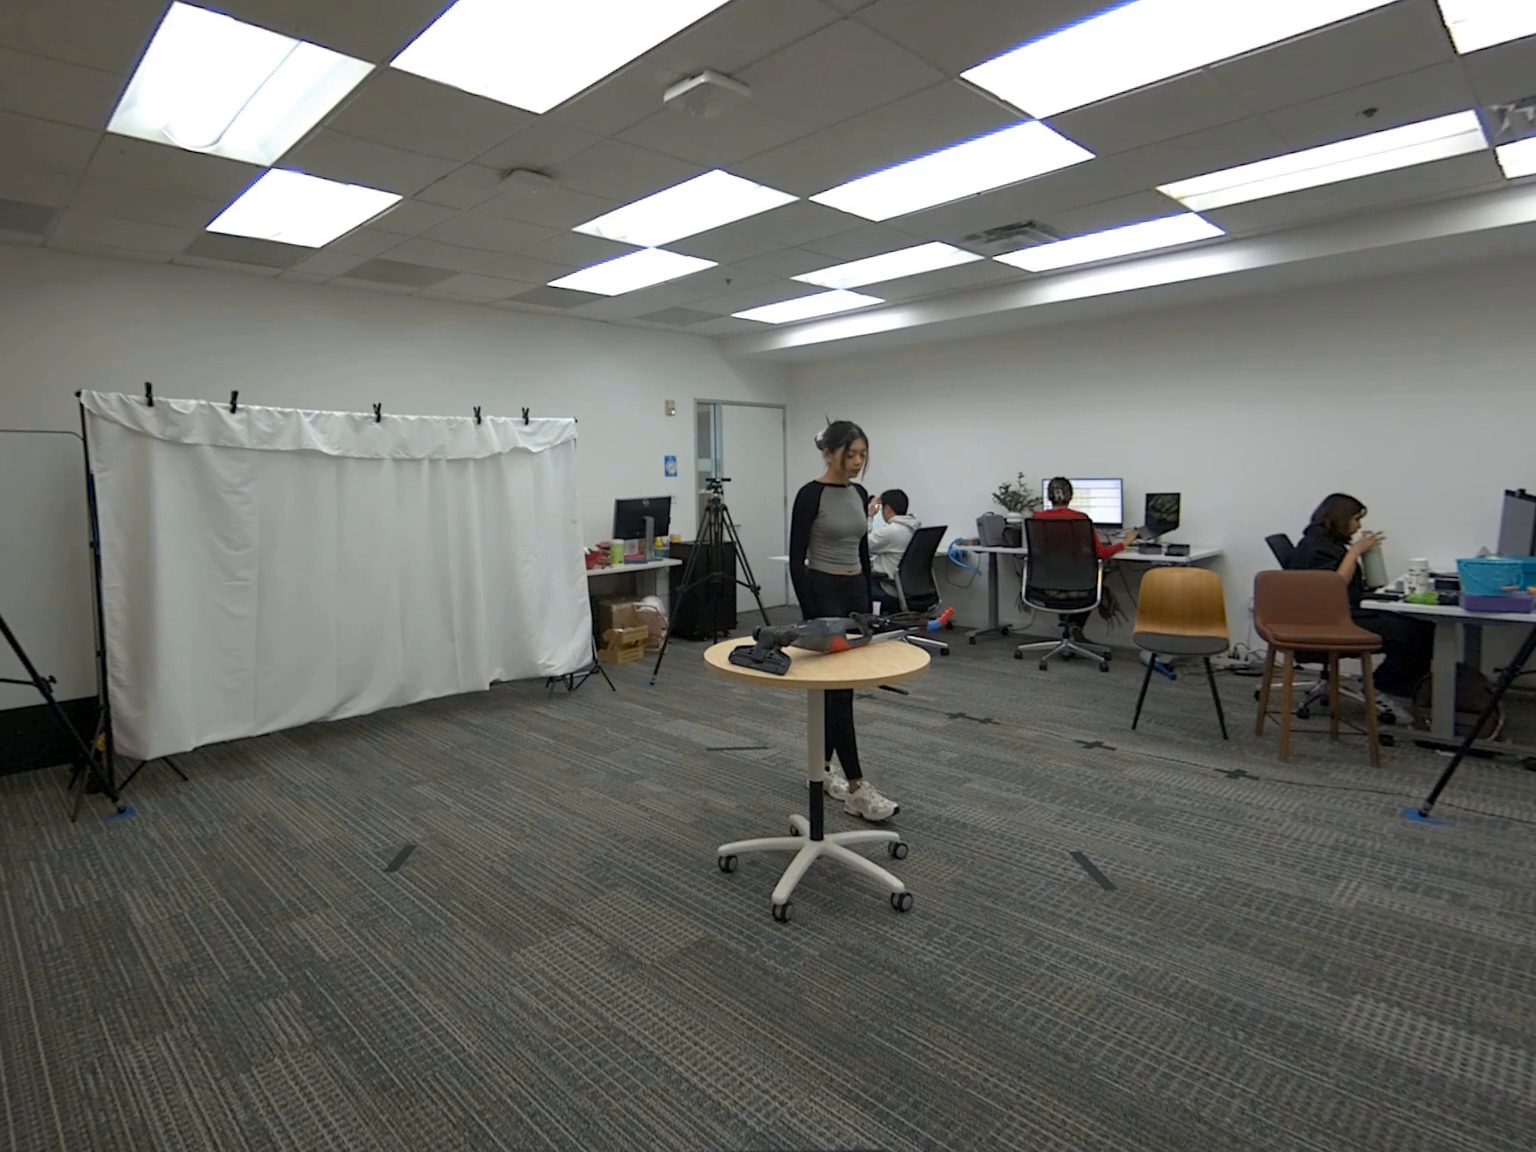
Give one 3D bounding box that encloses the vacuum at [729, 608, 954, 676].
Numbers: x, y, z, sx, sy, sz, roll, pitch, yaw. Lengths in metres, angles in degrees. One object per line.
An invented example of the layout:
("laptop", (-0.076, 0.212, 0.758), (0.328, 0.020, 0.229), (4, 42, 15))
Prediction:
("vacuum", (0.364, 0.201, 3.047), (1.022, 0.143, 0.260), (-7, 9, -42))
